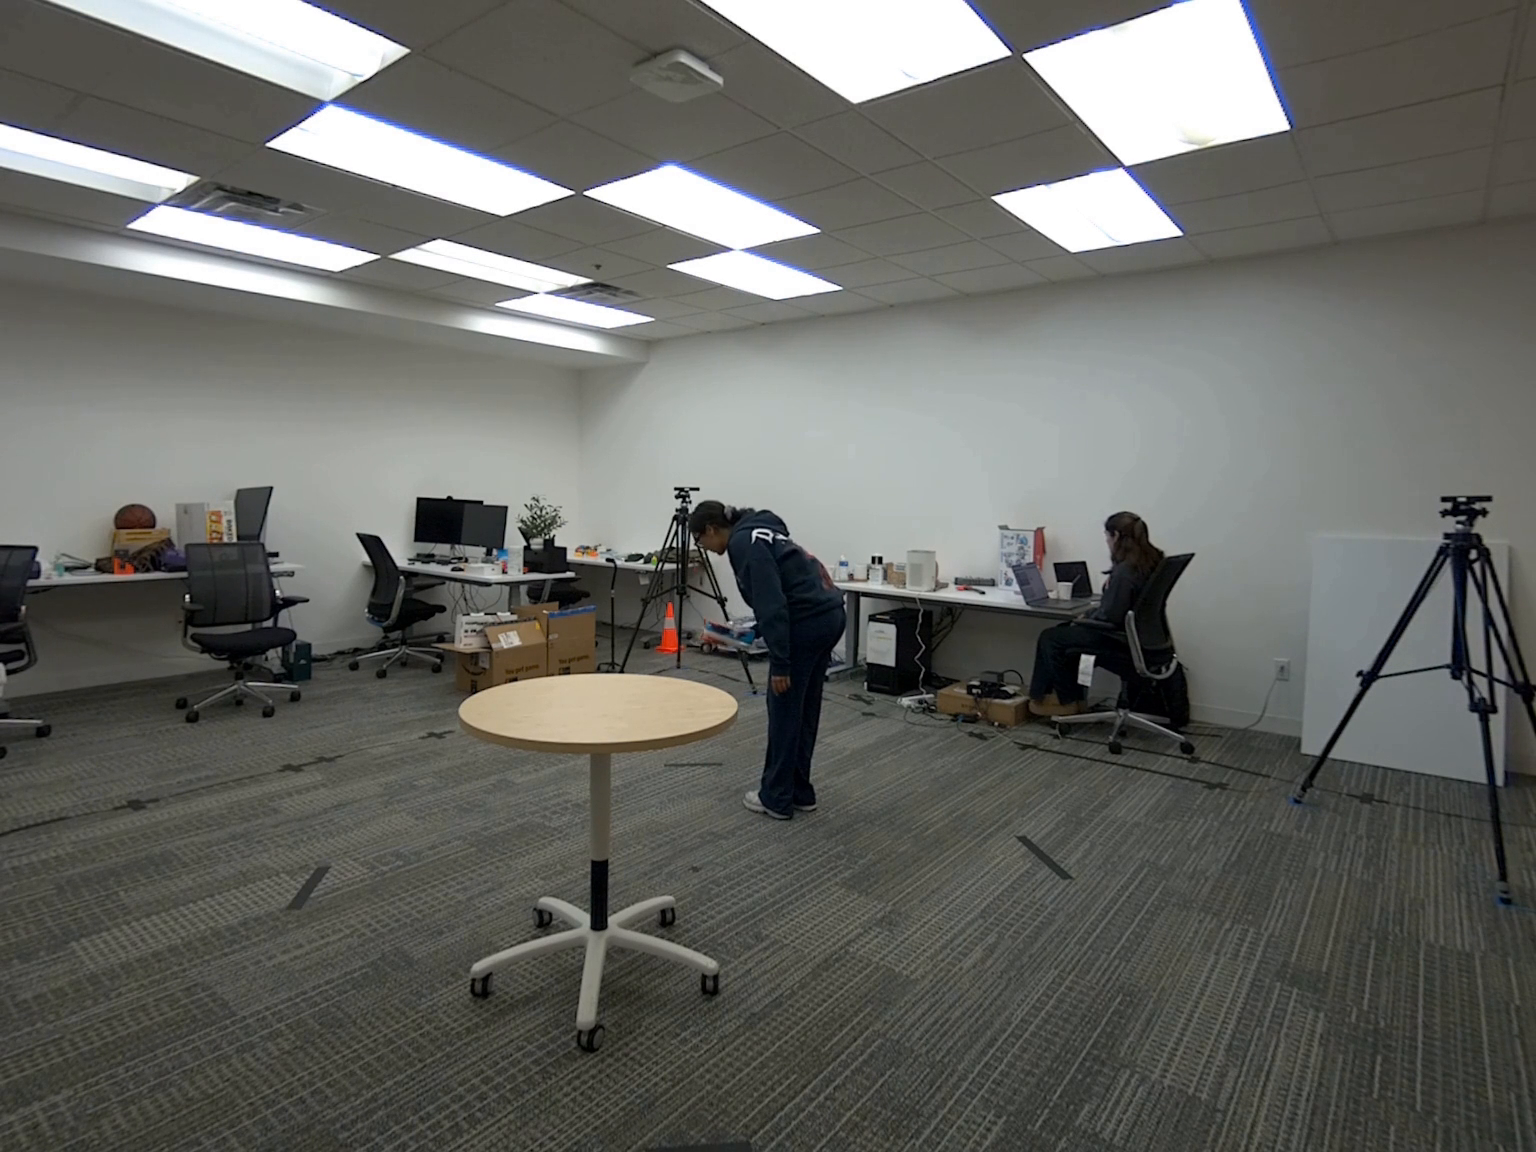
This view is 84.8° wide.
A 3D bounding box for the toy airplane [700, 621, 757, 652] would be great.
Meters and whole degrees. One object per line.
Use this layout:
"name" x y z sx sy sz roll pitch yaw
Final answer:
"toy airplane" -0.197 0.296 4.002 0.256 0.158 0.252 7 -9 -10
